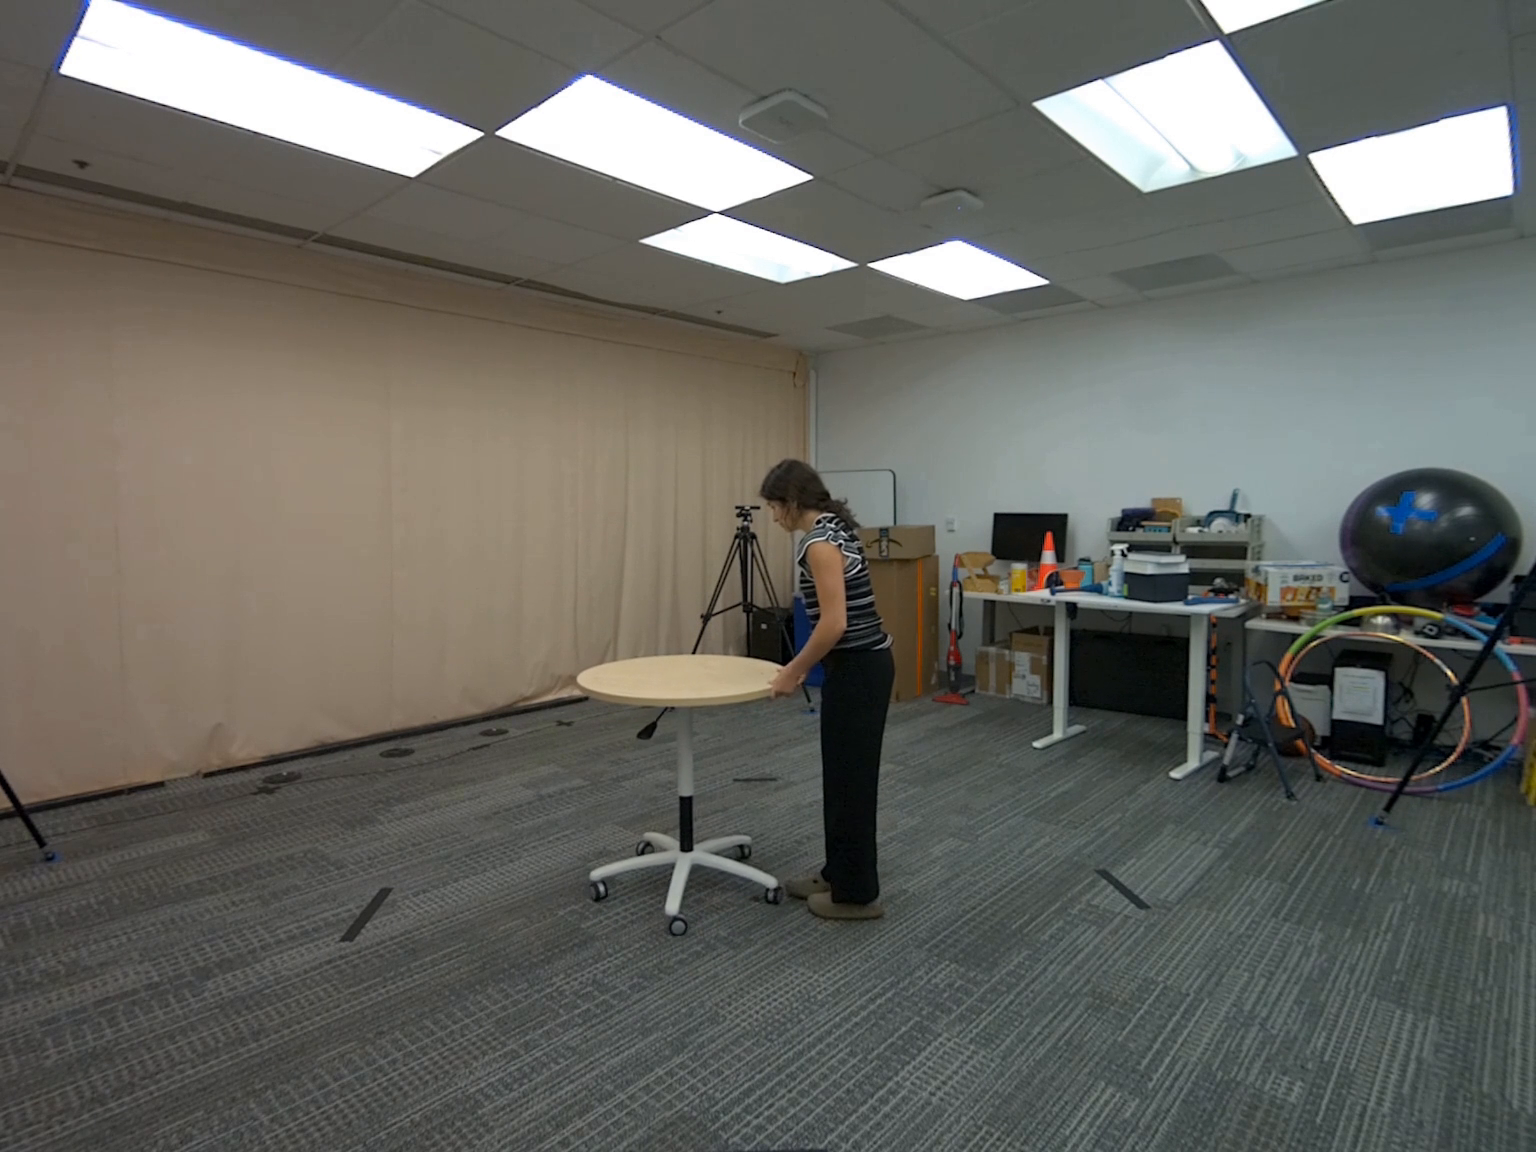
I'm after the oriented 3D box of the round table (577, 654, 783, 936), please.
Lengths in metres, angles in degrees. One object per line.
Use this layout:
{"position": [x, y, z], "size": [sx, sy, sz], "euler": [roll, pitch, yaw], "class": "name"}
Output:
{"position": [-0.304, 0.746, 3.069], "size": [0.784, 0.784, 0.788], "euler": [0, 4, -2], "class": "round table"}
